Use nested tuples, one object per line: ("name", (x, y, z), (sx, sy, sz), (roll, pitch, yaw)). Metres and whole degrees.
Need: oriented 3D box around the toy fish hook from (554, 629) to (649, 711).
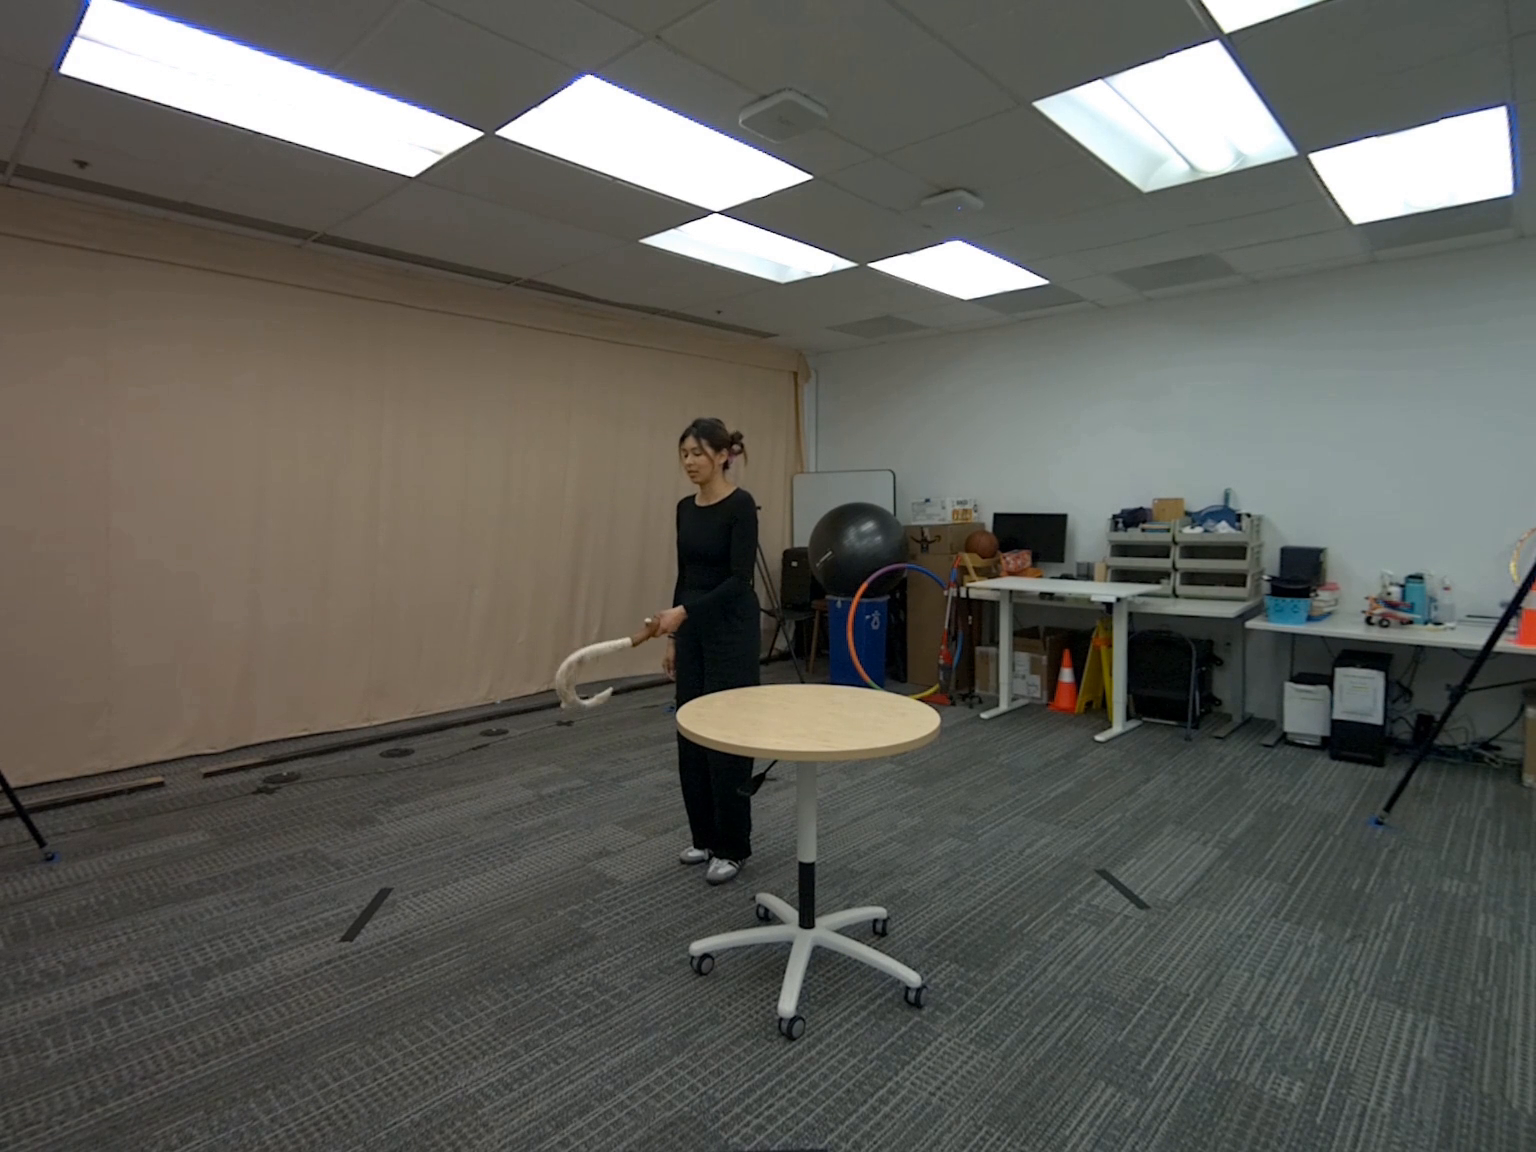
("toy fish hook", (-0.494, 0.280, 2.887), (0.498, 0.220, 0.050), (-28, 32, -30))
